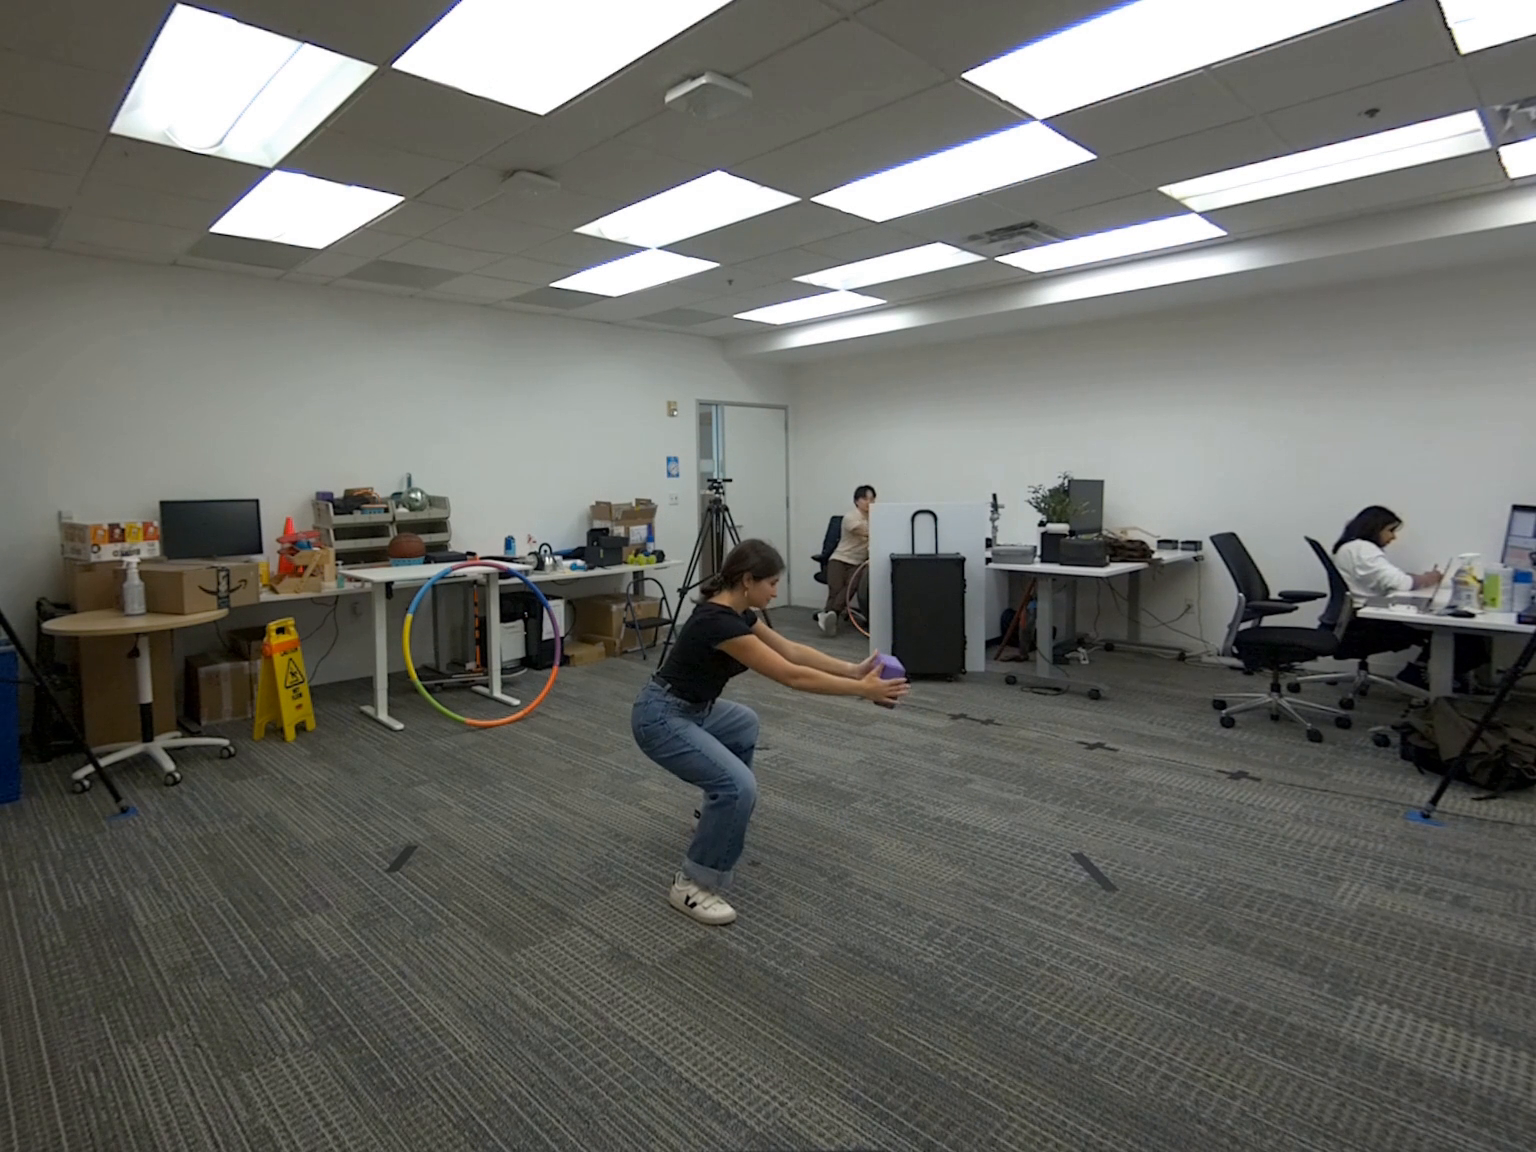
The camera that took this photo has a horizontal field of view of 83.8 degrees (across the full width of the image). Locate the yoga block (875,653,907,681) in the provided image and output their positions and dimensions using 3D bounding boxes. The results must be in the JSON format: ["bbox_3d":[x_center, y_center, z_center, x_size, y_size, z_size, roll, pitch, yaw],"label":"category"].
[{"bbox_3d":[0.414,0.356,3.012,0.076,0.148,0.230,13,4,-1],"label":"yoga block"}]
